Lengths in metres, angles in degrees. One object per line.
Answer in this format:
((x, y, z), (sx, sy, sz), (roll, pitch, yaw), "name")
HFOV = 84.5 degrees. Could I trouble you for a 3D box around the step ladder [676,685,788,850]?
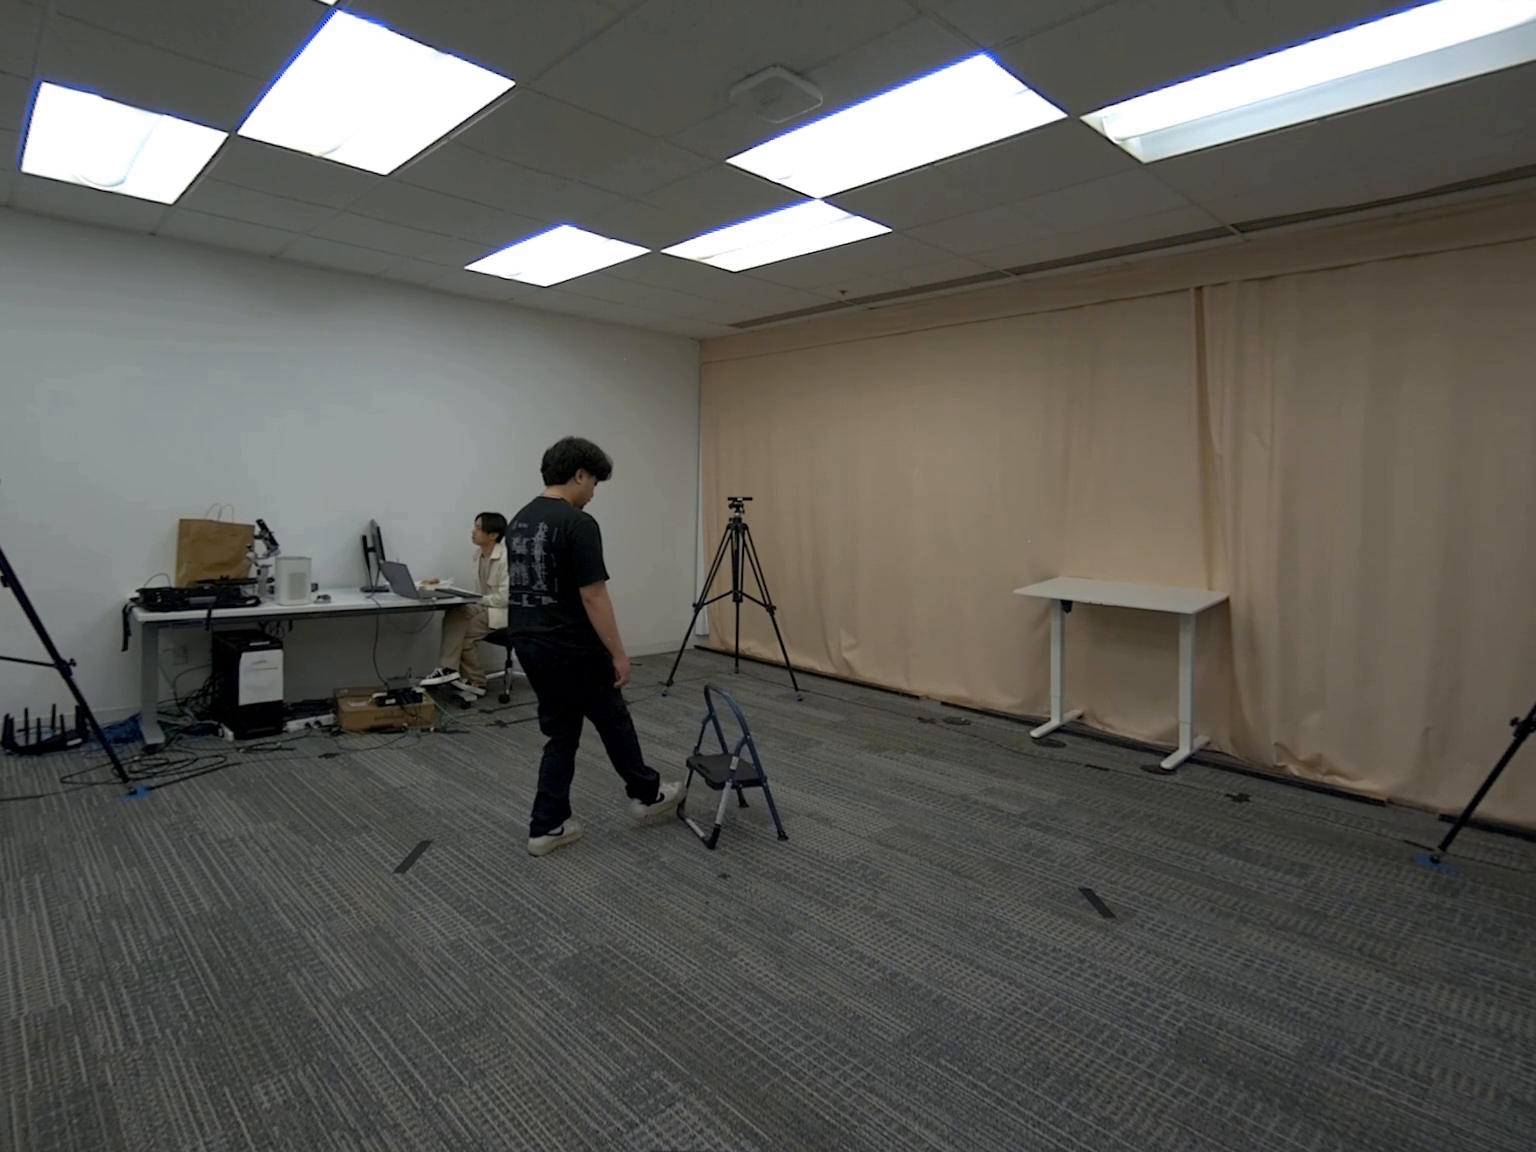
((-0.165, 0.763, 3.565), (0.343, 0.605, 0.439), (0, 3, -25), "step ladder")
